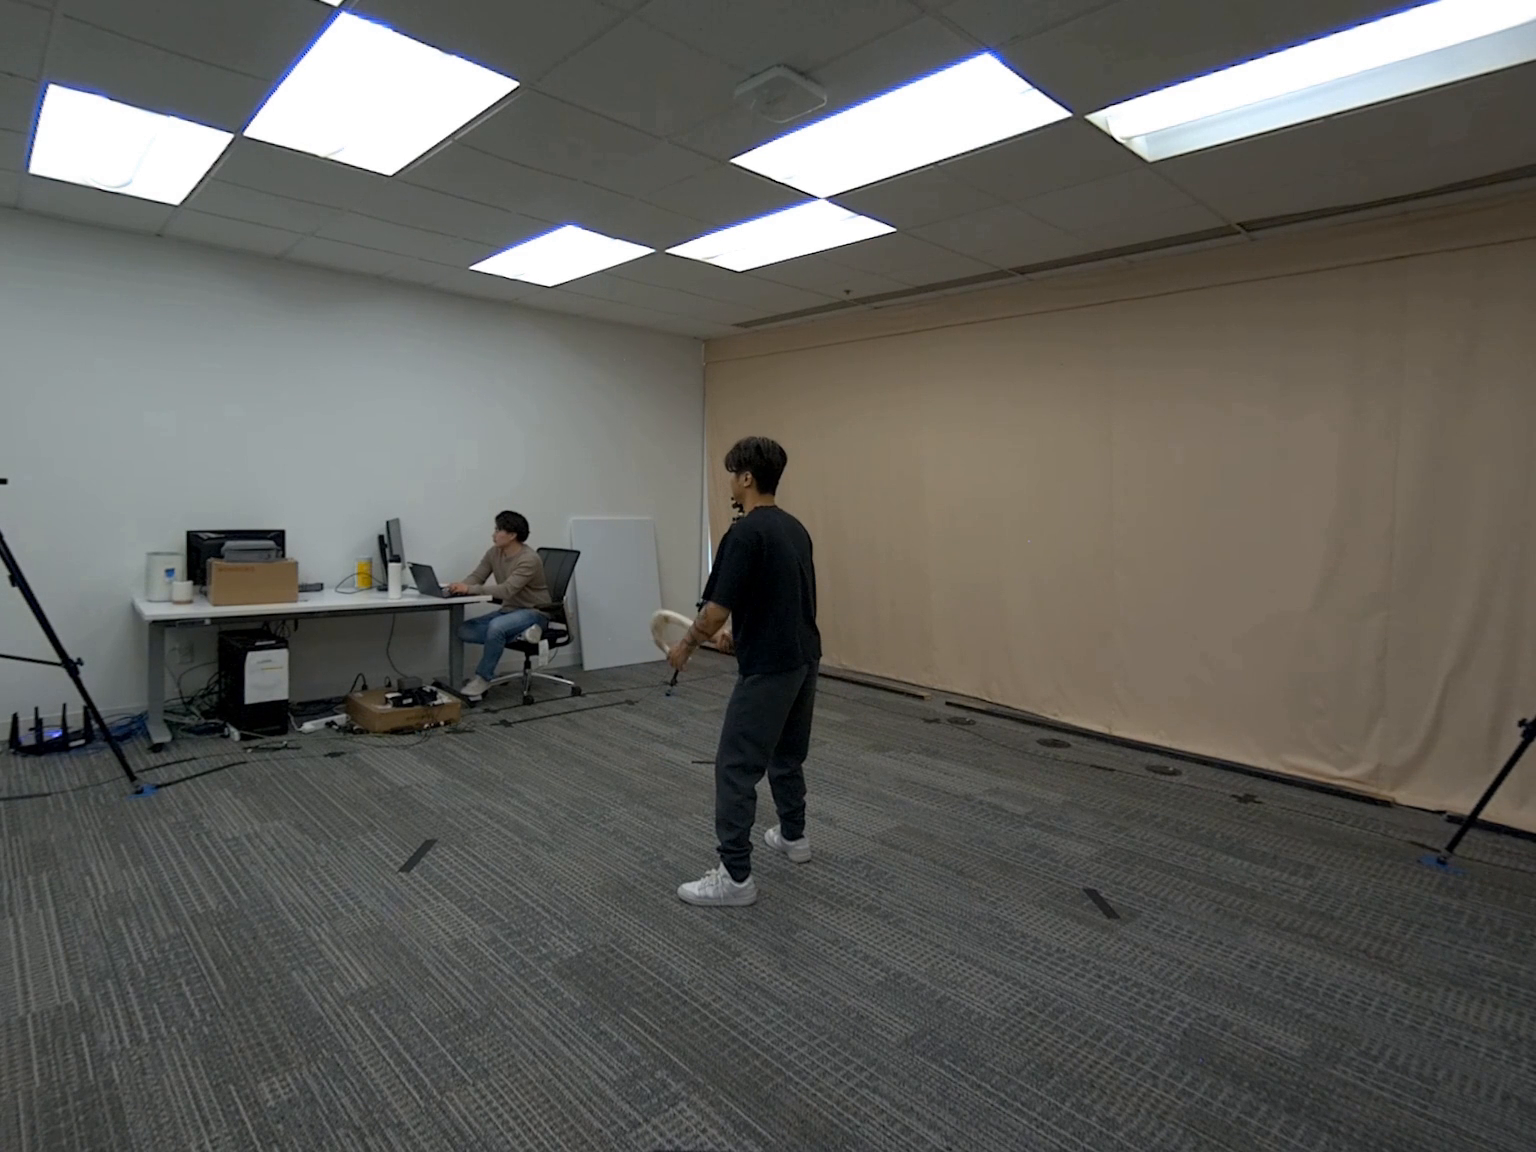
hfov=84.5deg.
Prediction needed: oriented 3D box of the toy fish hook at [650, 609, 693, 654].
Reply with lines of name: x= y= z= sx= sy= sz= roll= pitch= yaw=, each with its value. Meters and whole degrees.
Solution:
toy fish hook: x=-0.260 y=0.274 z=3.401 sx=0.520 sy=0.220 sz=0.048 roll=15 pitch=35 yaw=33
